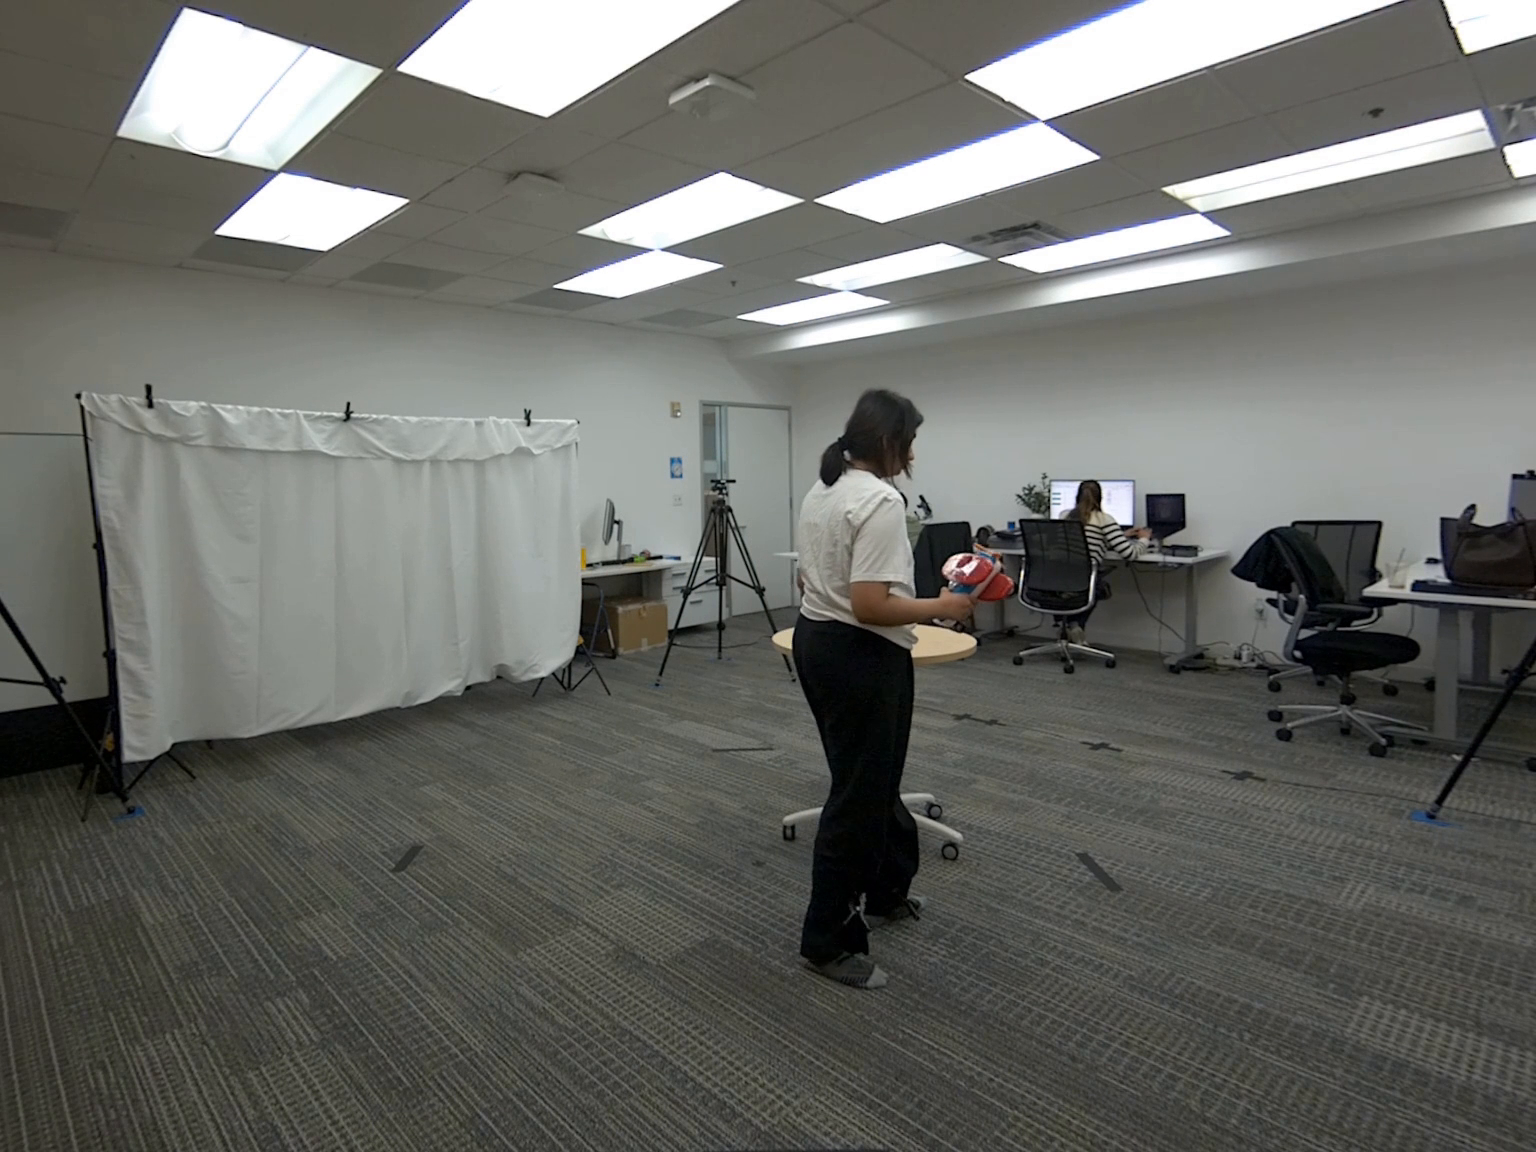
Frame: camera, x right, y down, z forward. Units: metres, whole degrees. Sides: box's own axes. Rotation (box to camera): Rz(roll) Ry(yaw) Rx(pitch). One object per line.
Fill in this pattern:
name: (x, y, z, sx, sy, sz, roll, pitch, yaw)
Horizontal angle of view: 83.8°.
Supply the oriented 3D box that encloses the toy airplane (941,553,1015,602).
toy airplane: (0.588, 0.046, 2.462, 0.258, 0.154, 0.256, -43, 16, -34)
